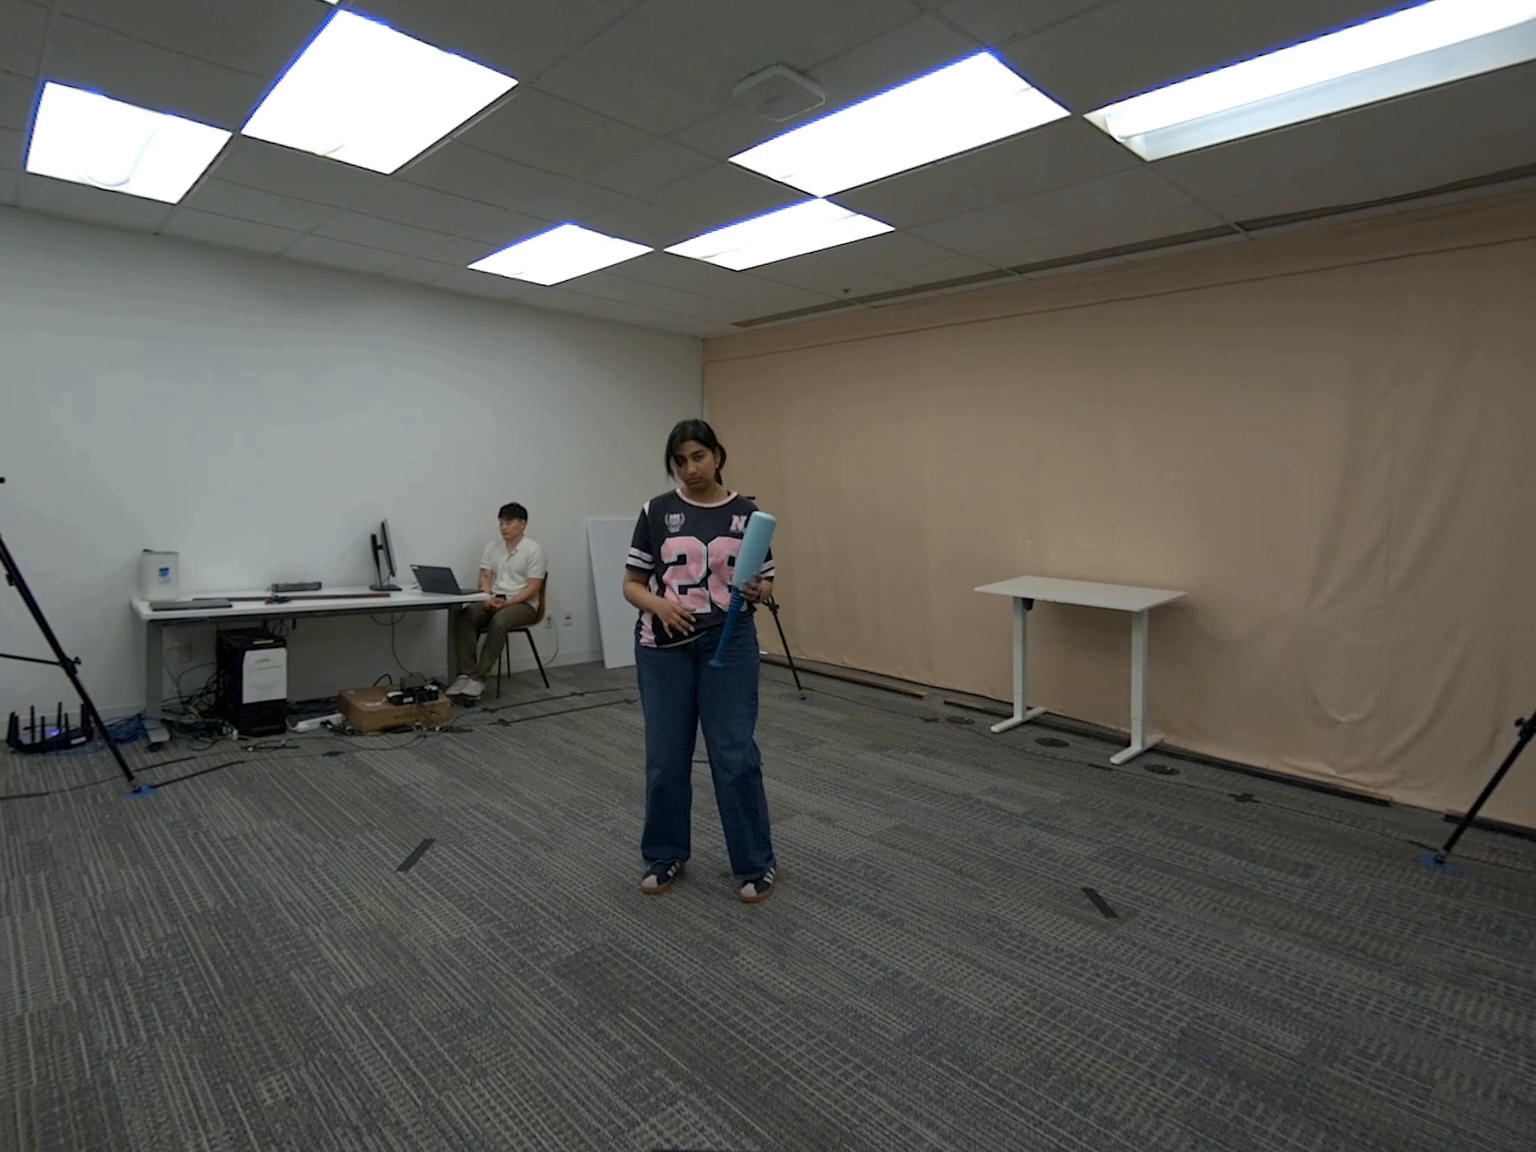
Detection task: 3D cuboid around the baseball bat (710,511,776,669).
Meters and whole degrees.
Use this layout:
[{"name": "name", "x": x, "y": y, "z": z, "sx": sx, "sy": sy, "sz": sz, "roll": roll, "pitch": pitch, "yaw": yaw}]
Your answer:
[{"name": "baseball bat", "x": -0.094, "y": 0.062, "z": 2.731, "sx": 0.089, "sy": 0.540, "sz": 0.090, "roll": 15, "pitch": 10, "yaw": -4}]
